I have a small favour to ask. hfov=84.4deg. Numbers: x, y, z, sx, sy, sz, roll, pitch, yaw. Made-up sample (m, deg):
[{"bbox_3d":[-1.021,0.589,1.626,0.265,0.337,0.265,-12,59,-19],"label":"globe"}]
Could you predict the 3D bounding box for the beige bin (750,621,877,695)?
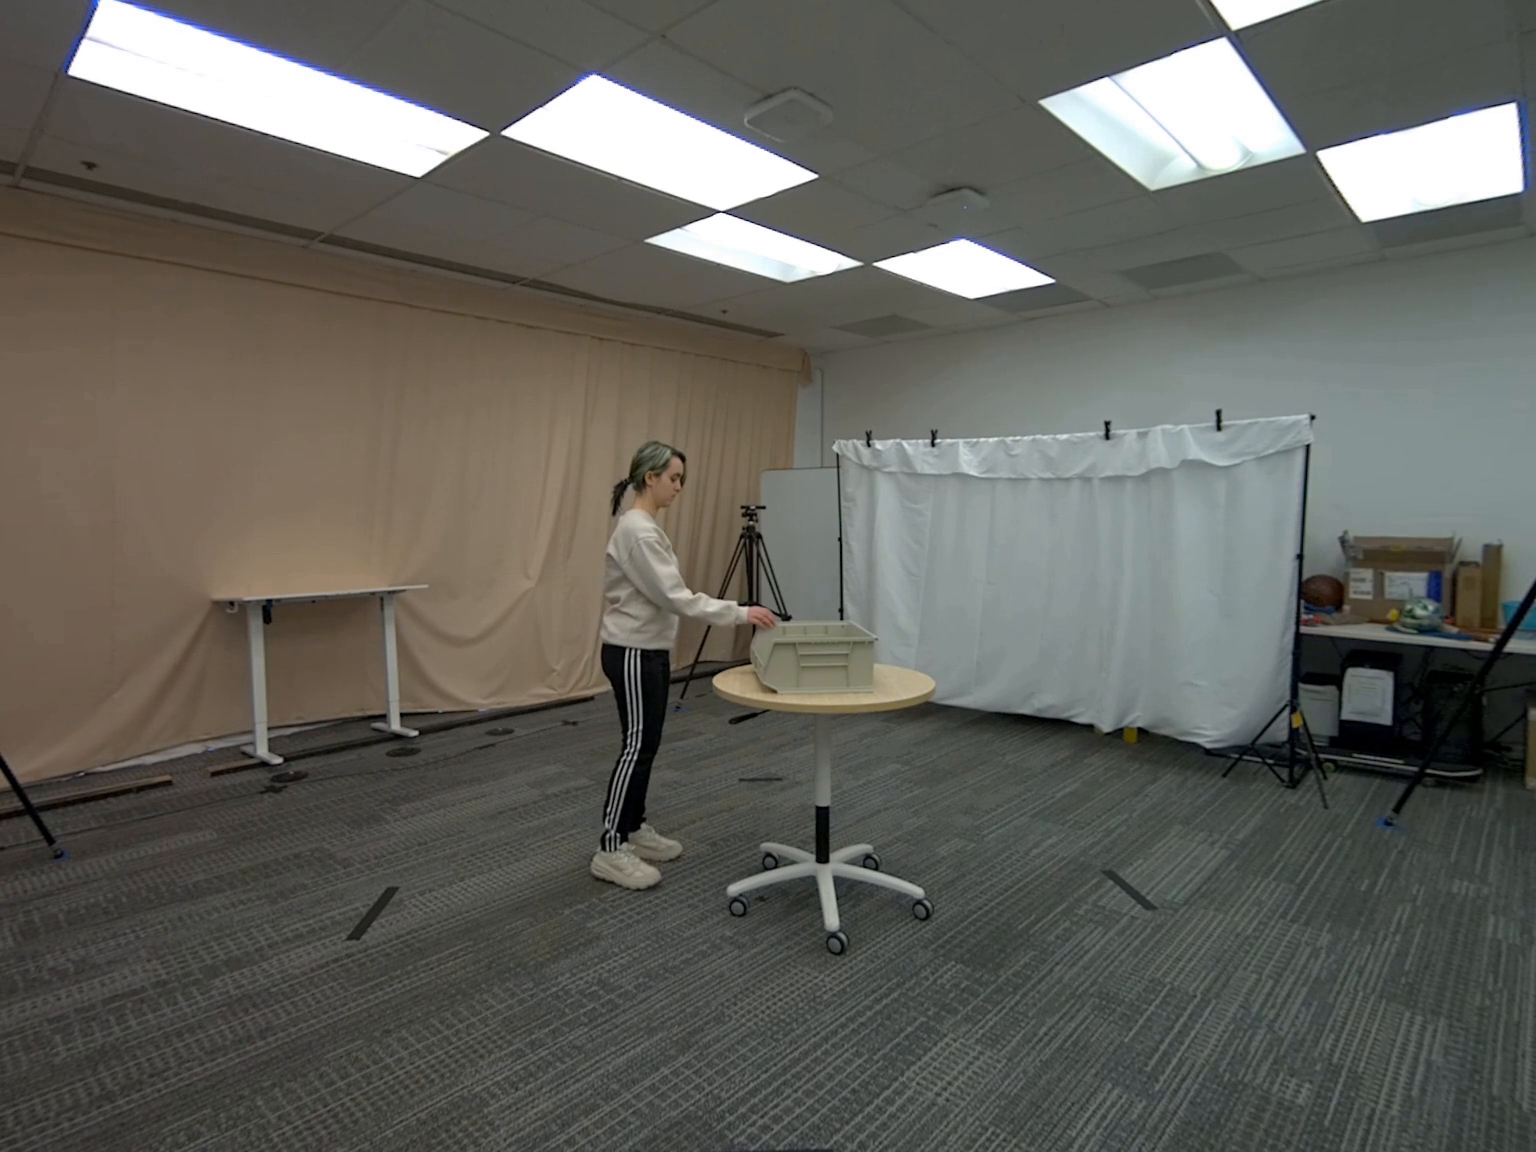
[{"bbox_3d":[0.143,0.276,2.912,0.376,0.188,0.424,0,4,-4],"label":"beige bin"}]
